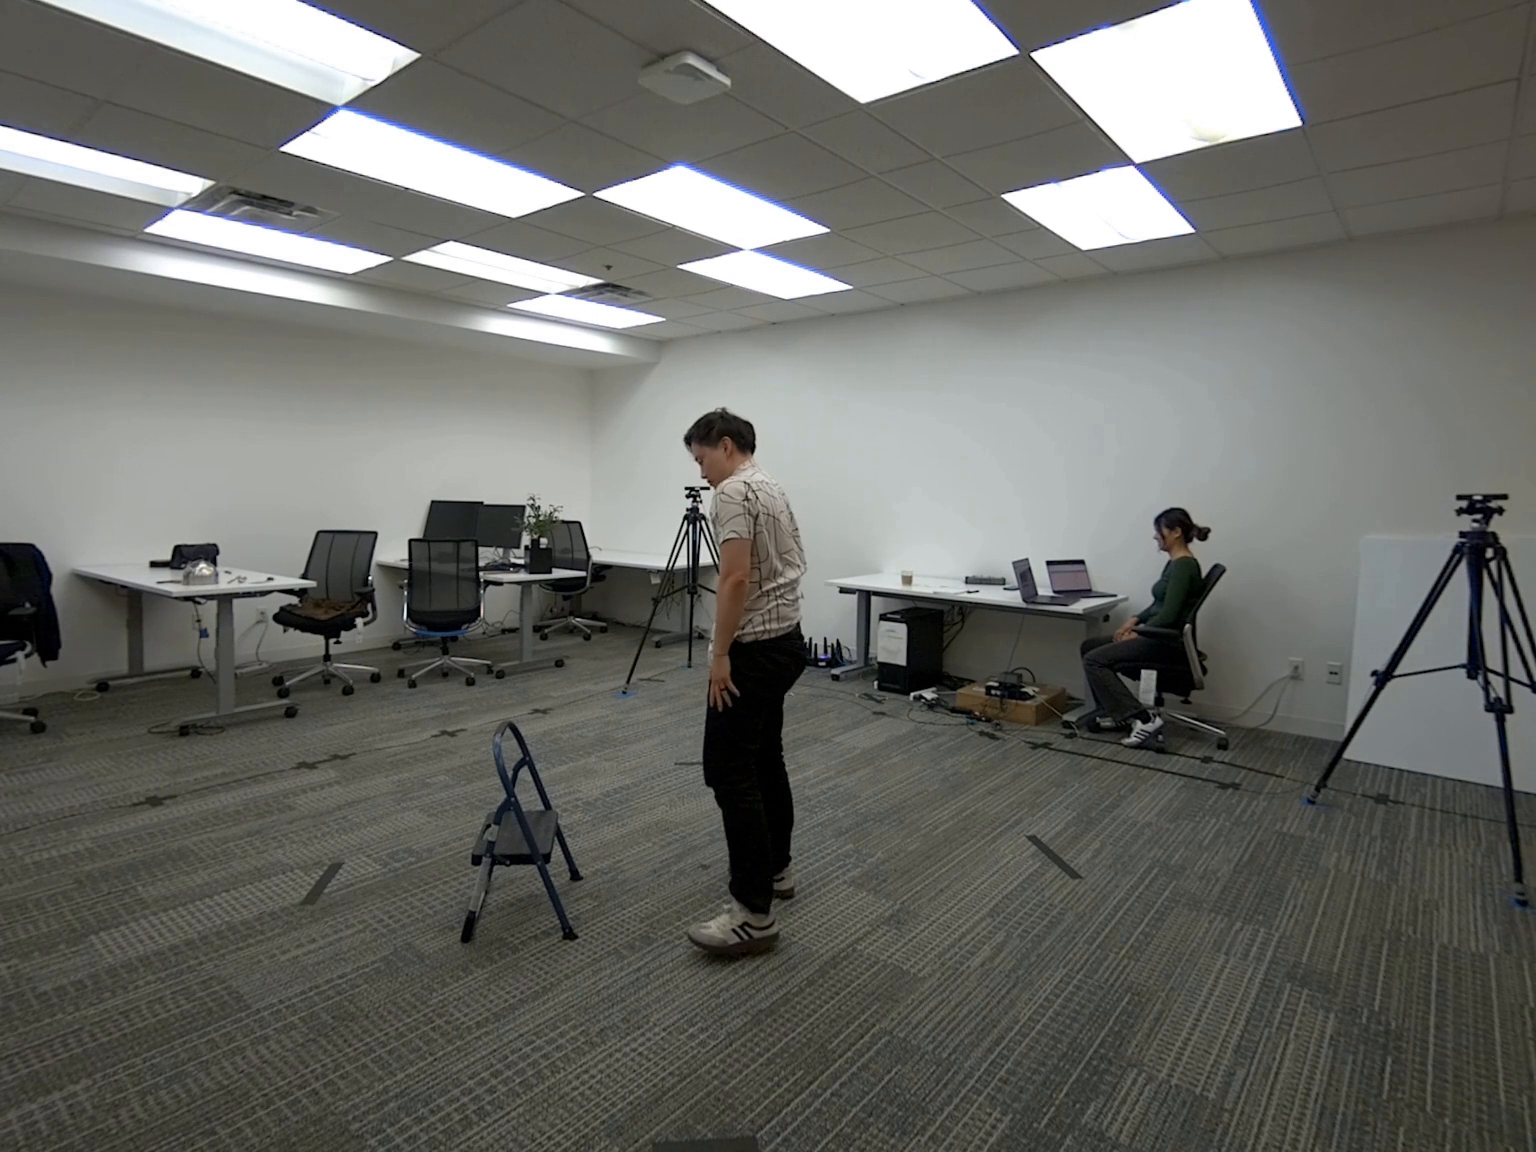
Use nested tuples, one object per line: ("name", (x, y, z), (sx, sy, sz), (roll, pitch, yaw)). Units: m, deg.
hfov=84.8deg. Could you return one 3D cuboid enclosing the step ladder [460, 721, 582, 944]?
("step ladder", (-0.805, 0.788, 2.780), (0.346, 0.604, 0.436), (0, 4, -9))
